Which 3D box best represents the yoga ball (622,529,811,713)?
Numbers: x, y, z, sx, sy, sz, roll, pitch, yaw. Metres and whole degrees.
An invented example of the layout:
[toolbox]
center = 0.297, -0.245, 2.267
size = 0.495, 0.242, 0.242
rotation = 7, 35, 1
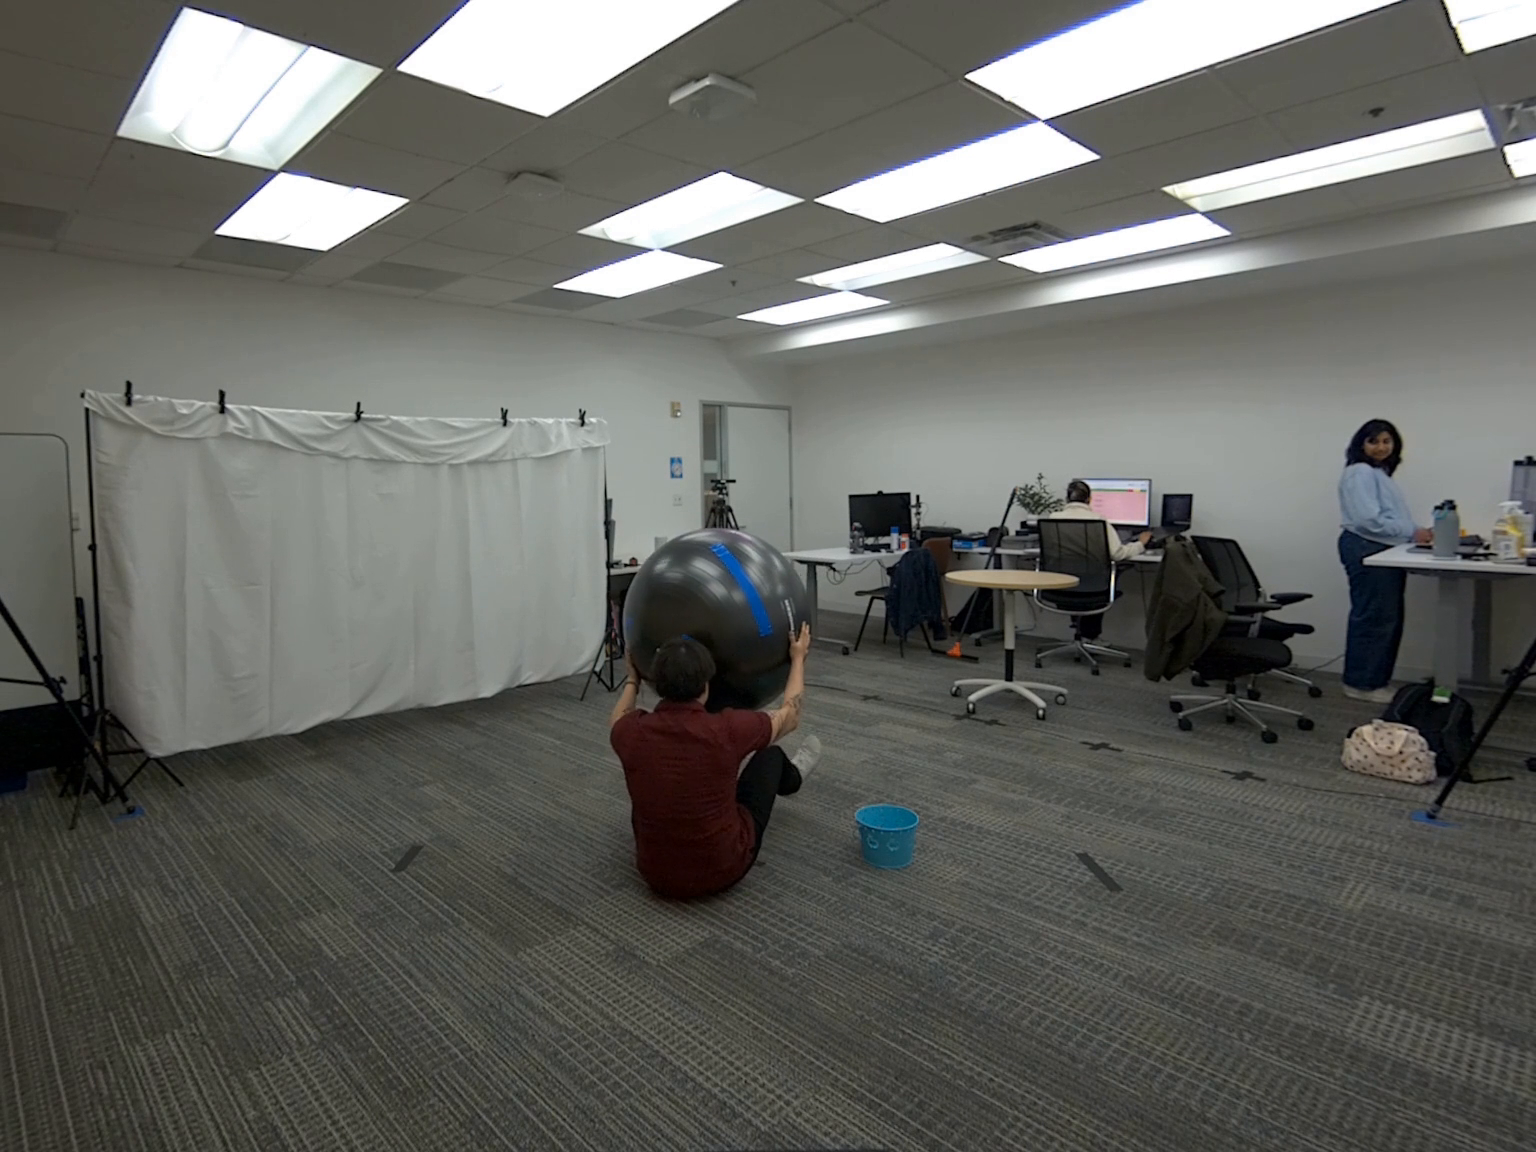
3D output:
[yoga ball]
center = -0.195, 0.197, 3.445
size = 0.757, 0.755, 0.762
rotation = -1, 5, -2
